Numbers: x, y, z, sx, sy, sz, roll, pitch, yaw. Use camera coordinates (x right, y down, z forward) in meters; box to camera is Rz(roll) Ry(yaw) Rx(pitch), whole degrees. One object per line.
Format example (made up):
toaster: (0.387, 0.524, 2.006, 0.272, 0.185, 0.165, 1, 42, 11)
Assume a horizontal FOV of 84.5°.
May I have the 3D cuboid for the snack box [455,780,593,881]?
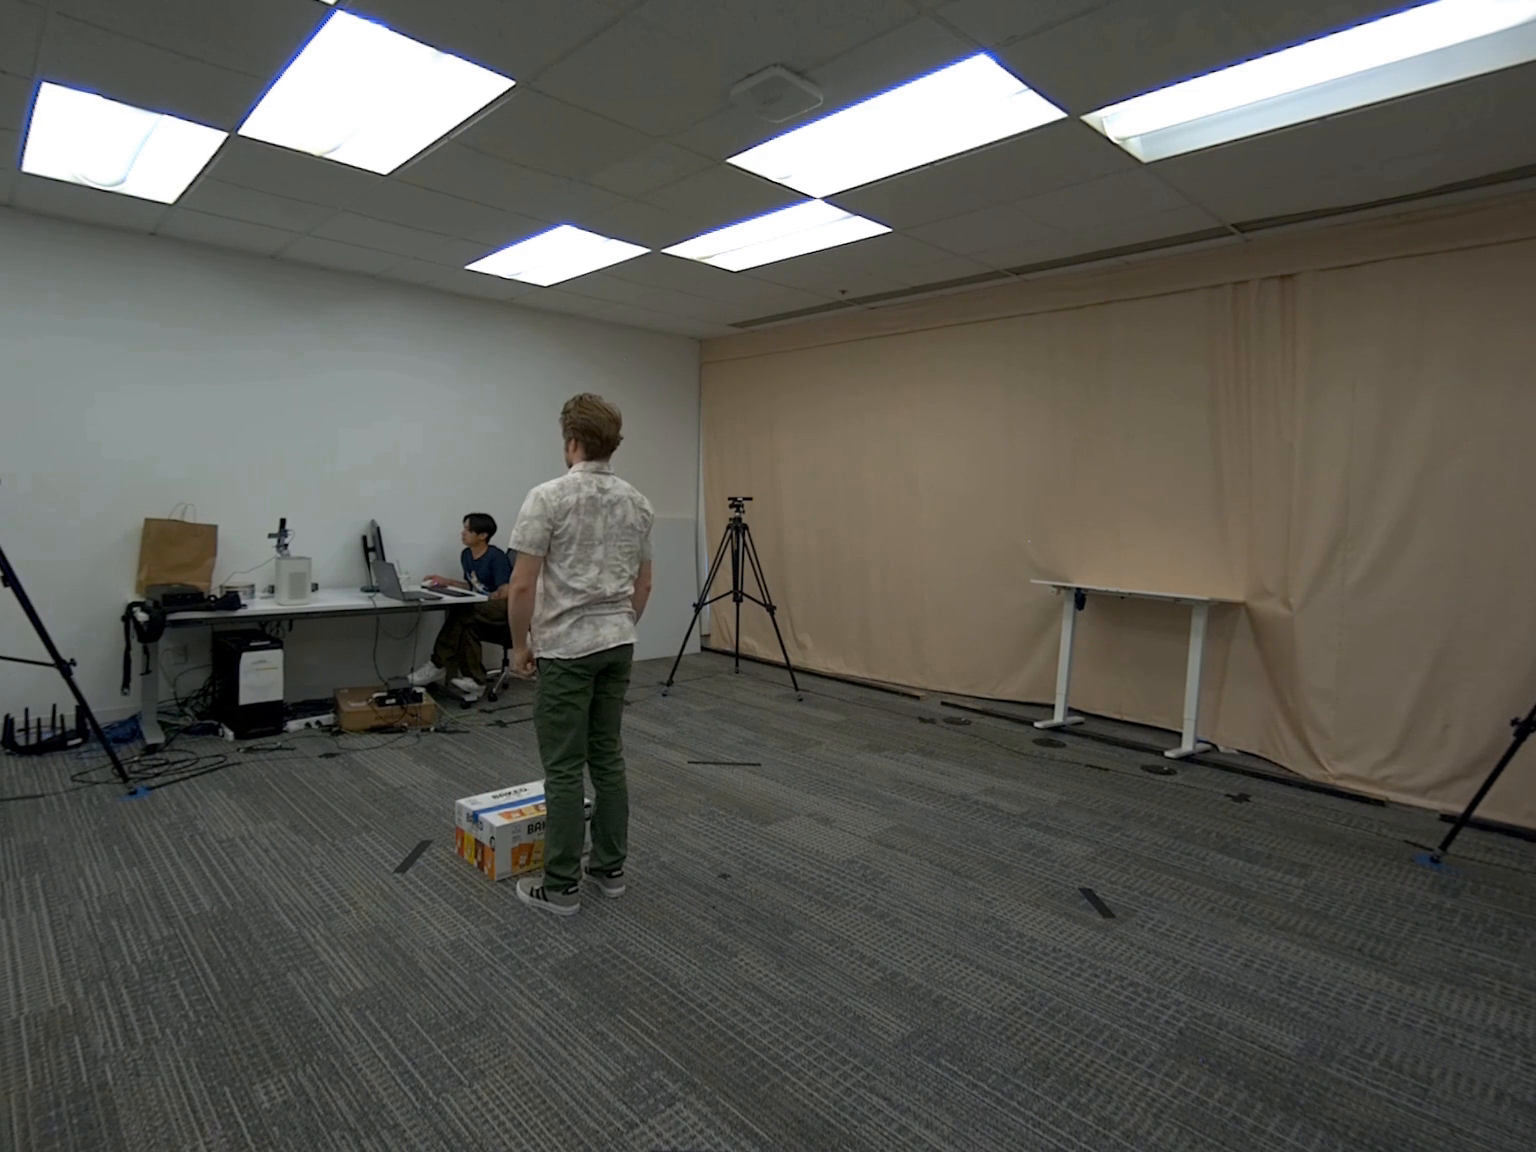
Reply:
snack box: (-0.969, 0.976, 3.266, 0.396, 0.205, 0.349, -3, 7, -44)
